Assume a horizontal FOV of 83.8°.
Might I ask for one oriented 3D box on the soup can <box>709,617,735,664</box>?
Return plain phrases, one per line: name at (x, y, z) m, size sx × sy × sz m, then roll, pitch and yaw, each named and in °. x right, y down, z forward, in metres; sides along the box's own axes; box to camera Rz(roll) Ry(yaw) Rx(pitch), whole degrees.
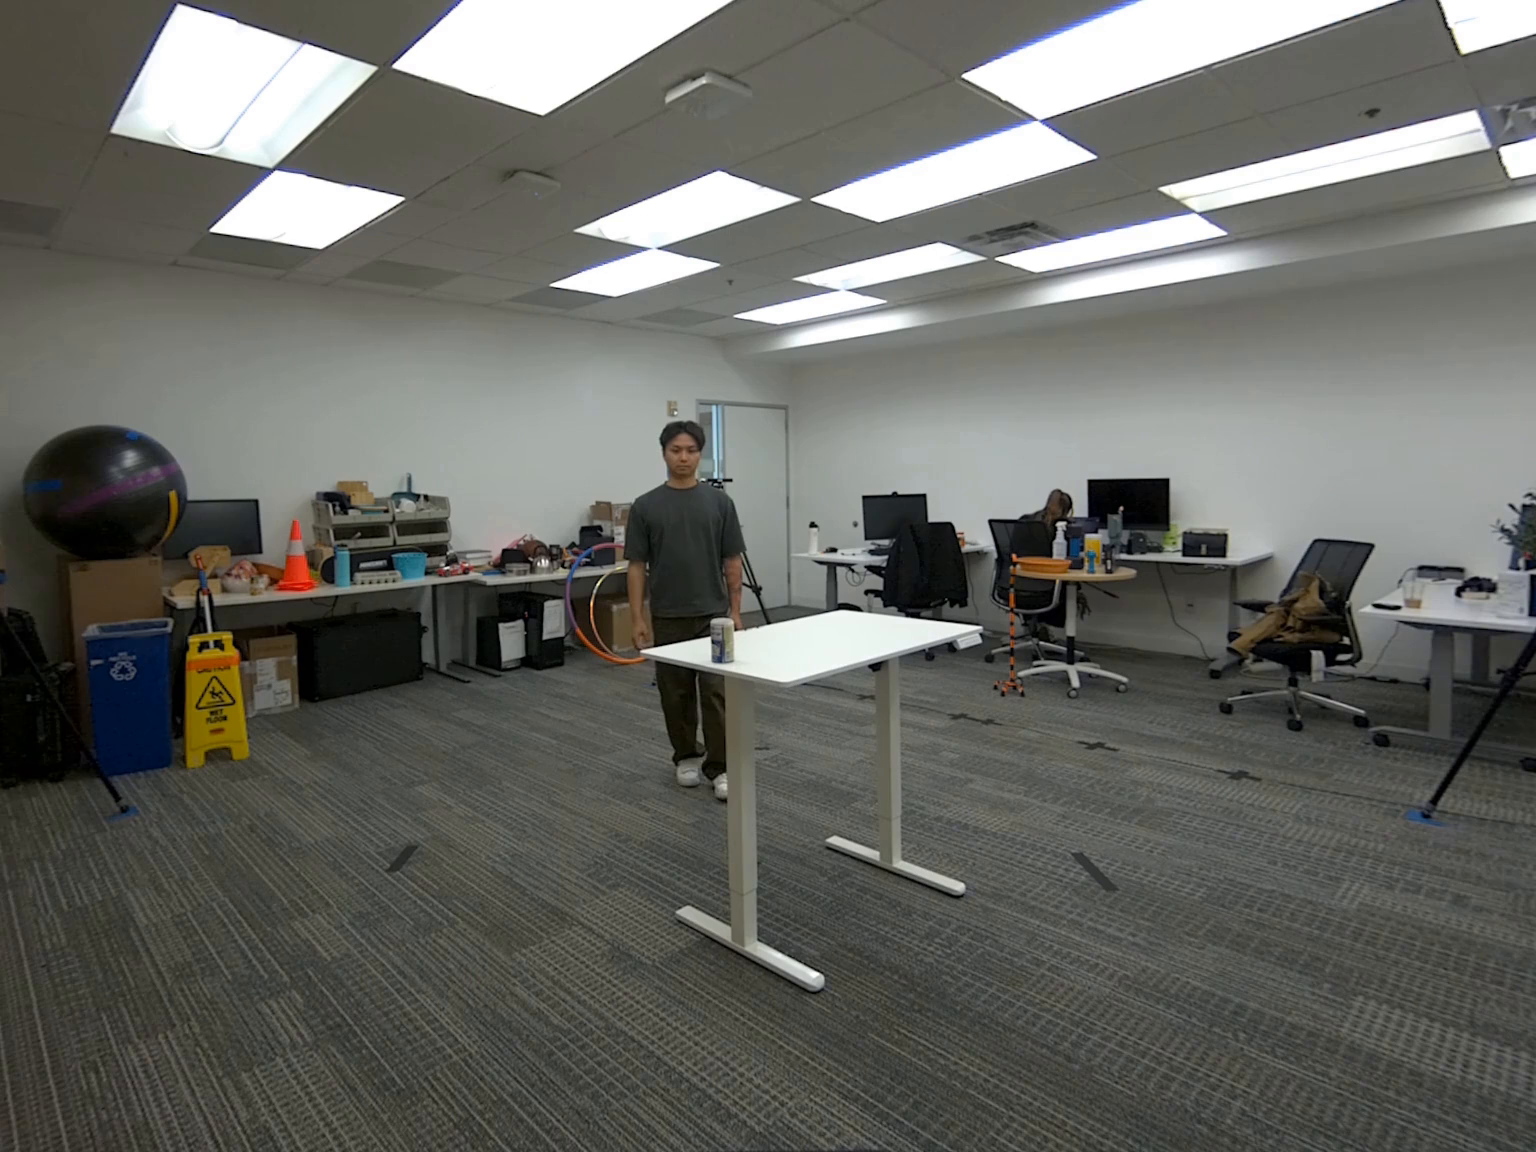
soup can at (-0.126, 0.191, 2.436) m, size 0.067 × 0.121 × 0.067 m, roll -3°, pitch 2°, yaw -2°
